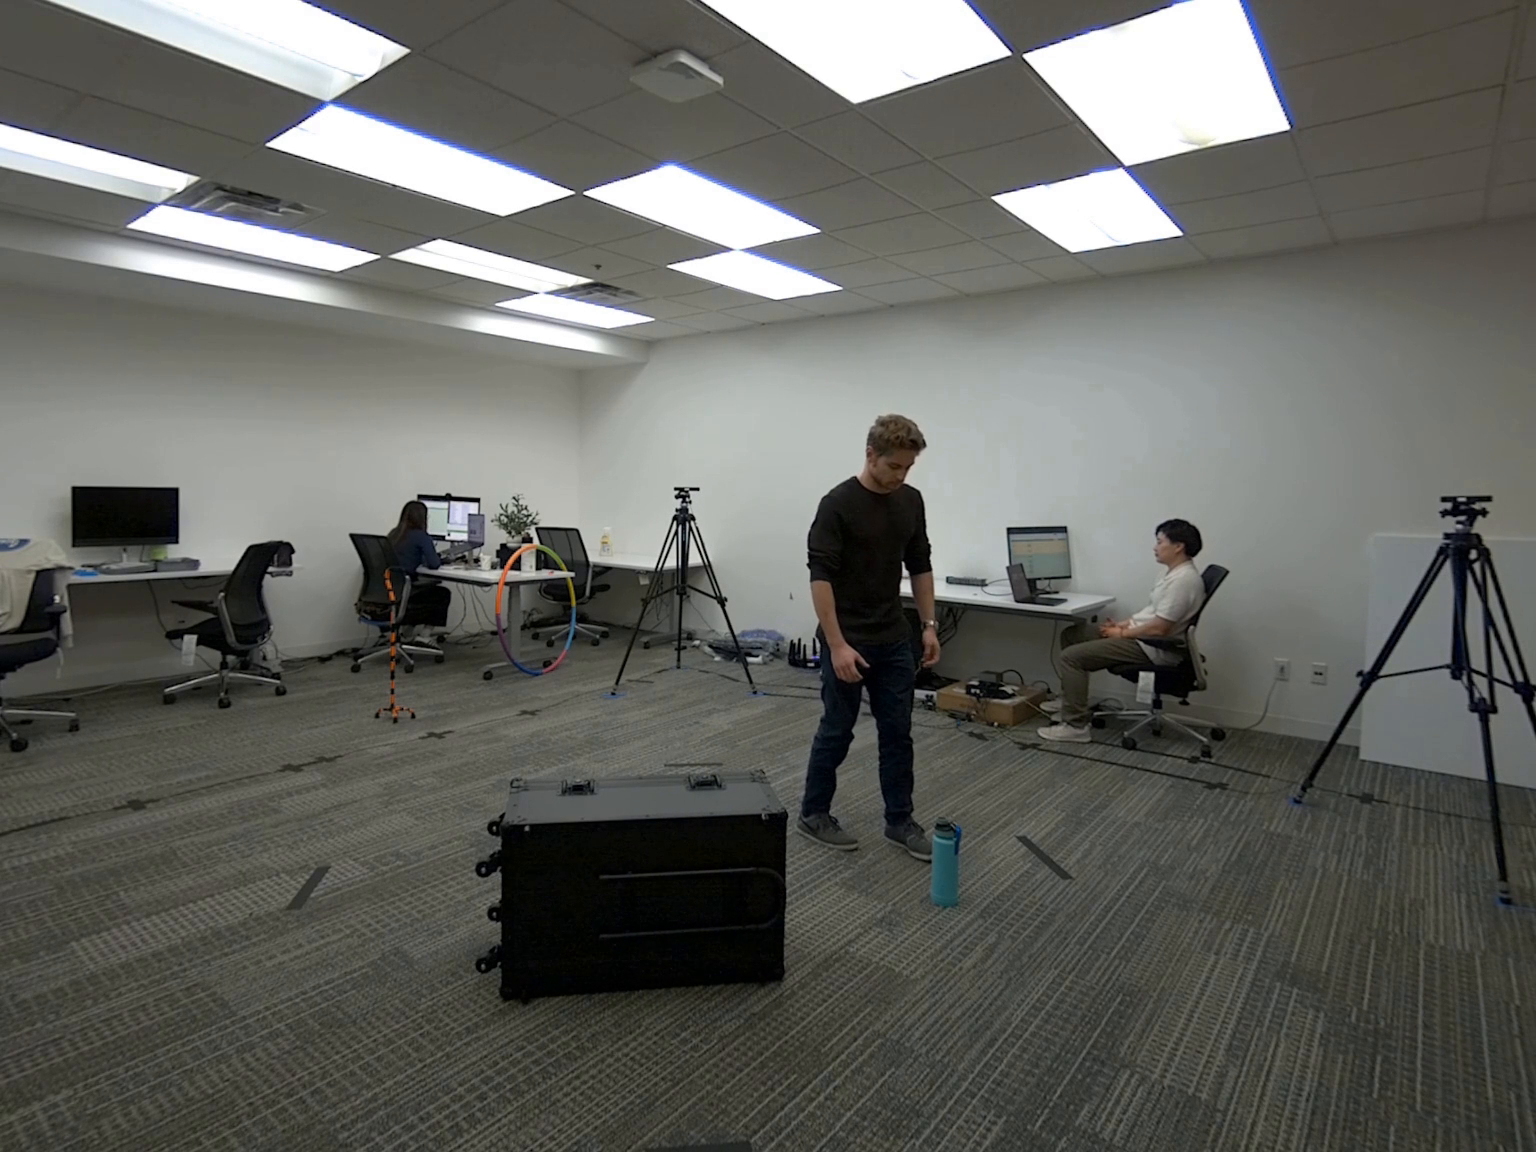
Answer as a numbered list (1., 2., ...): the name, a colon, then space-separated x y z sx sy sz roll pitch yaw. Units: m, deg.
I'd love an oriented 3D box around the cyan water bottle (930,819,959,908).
1. cyan water bottle: 0.604 0.968 2.897 0.092 0.282 0.093 2 6 -2
